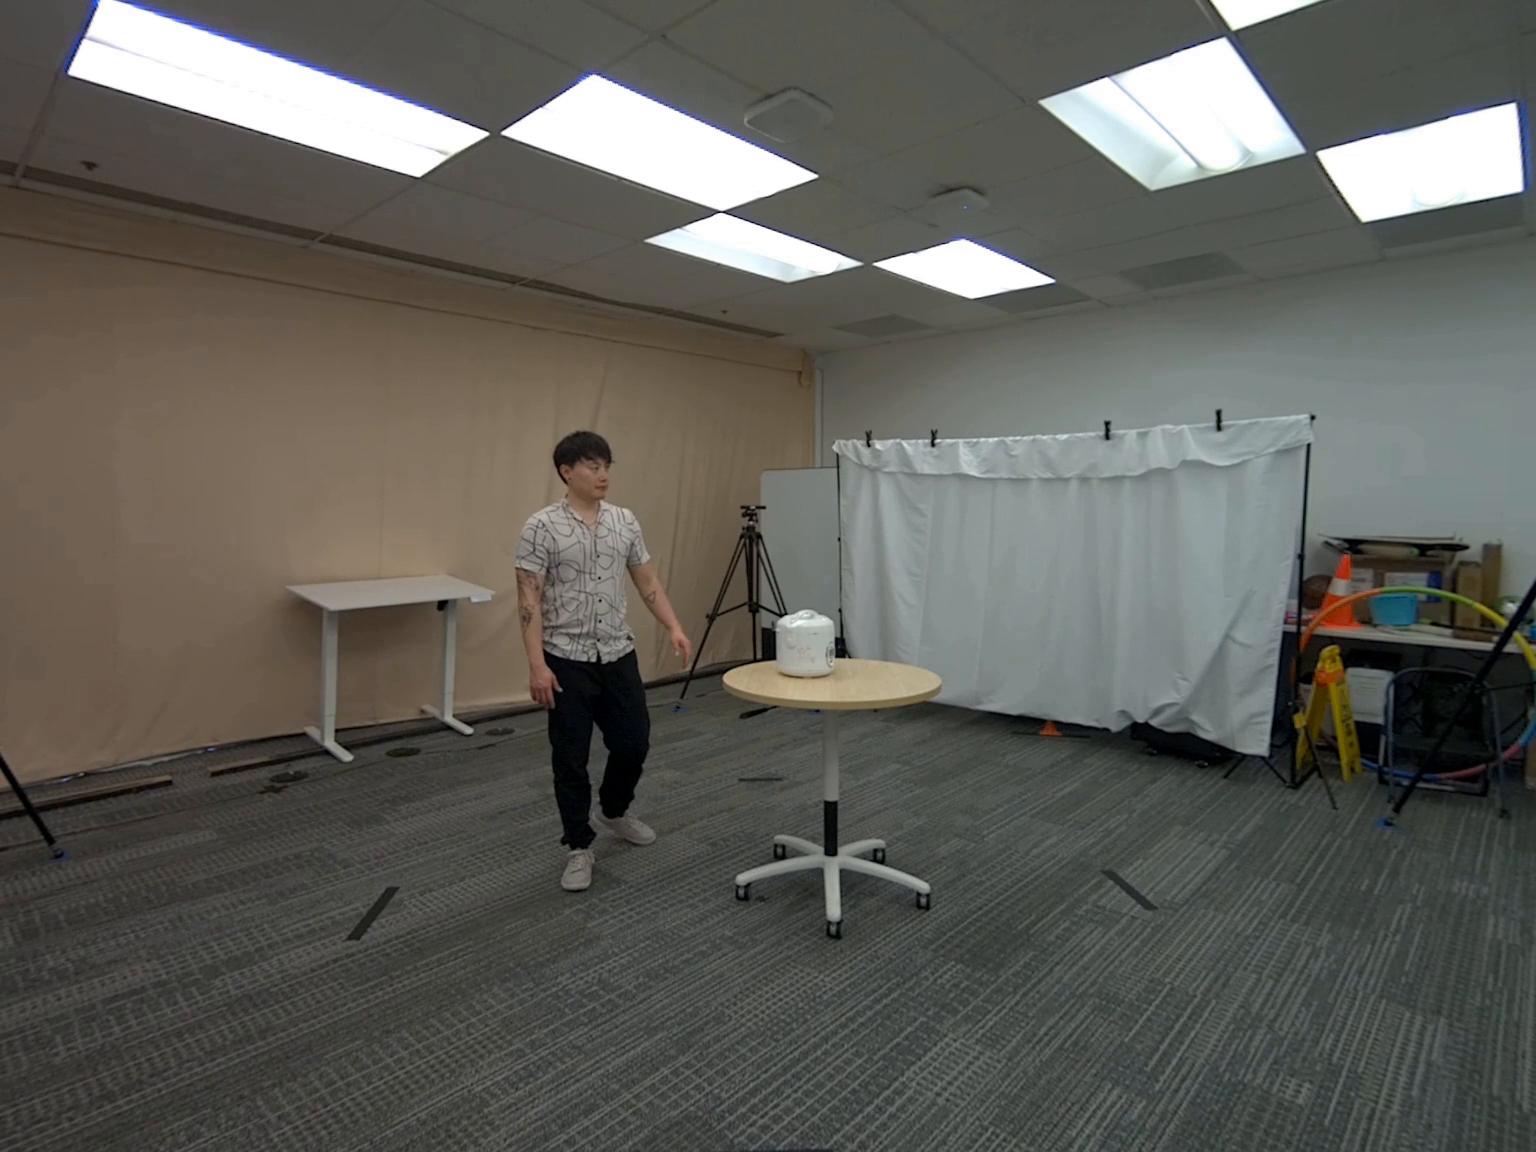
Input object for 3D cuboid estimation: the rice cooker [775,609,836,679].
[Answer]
[{"bbox_3d":[0.142,0.238,3.056,0.224,0.232,0.214,0,3,35],"label":"rice cooker"}]
